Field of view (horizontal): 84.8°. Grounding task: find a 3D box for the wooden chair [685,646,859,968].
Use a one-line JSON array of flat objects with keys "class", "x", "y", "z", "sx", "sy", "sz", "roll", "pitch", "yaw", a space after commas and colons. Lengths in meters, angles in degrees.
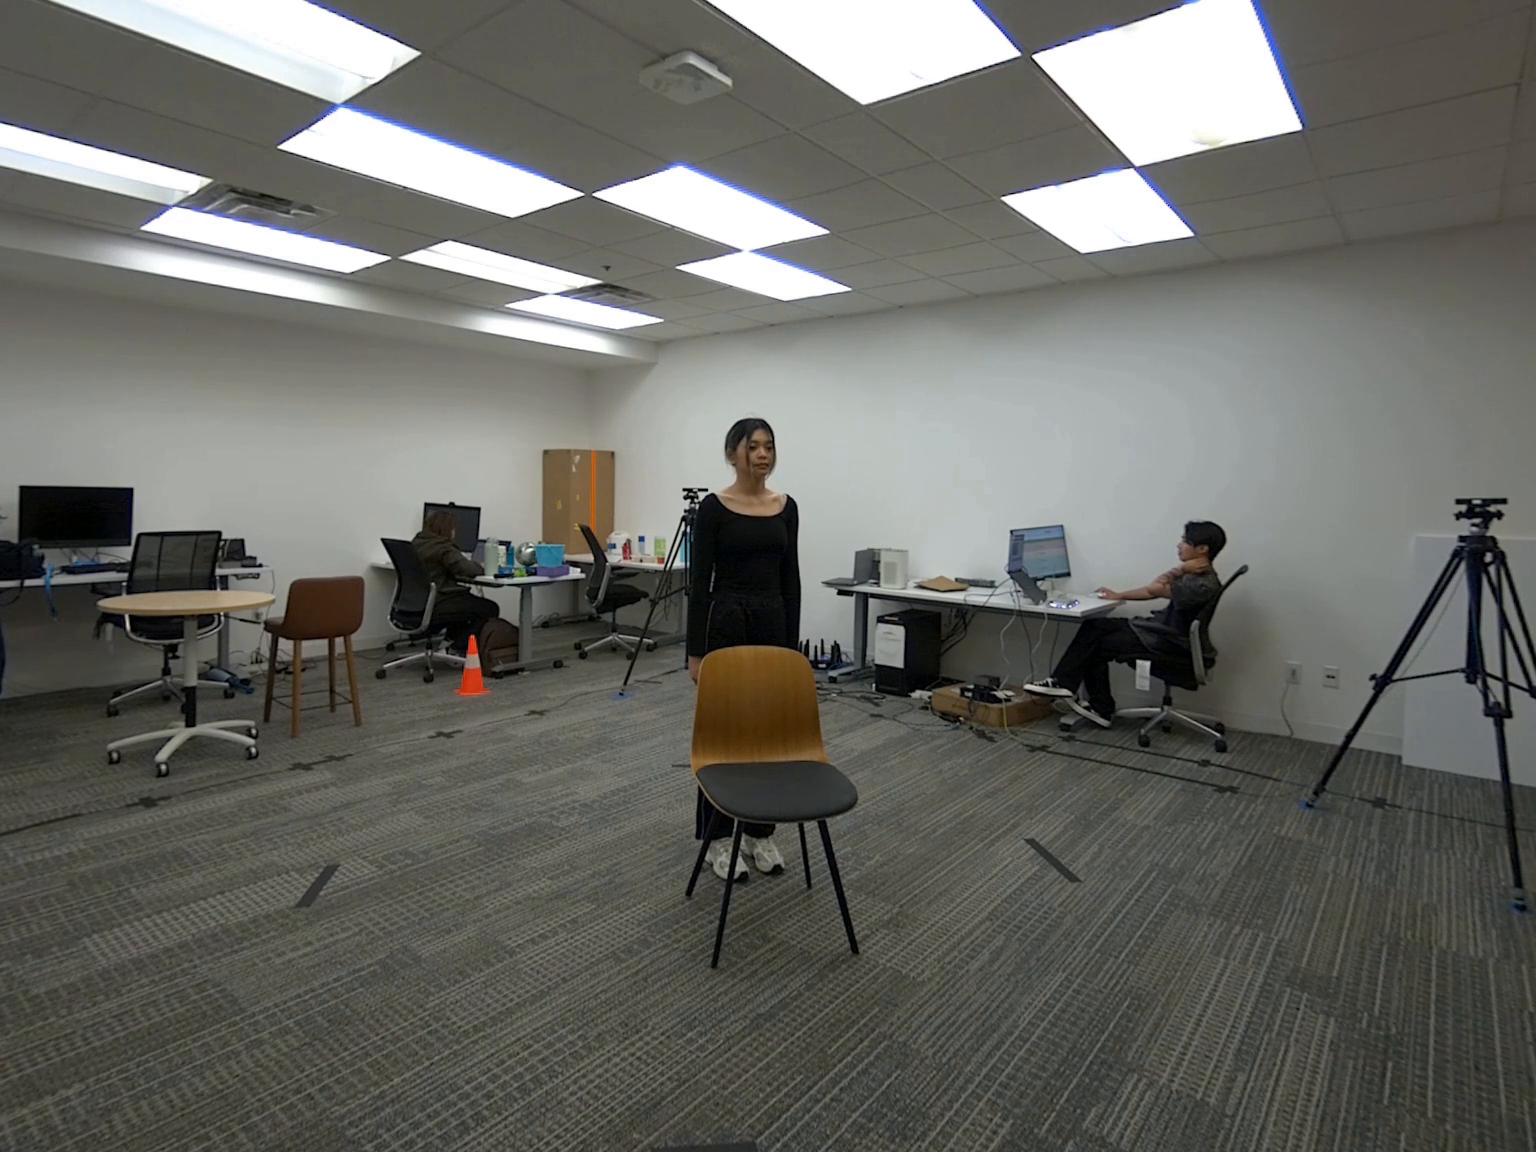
[{"class": "wooden chair", "x": 0.006, "y": 0.685, "z": 2.692, "sx": 0.471, "sy": 0.878, "sz": 0.530, "roll": 1, "pitch": -1, "yaw": -14}]
